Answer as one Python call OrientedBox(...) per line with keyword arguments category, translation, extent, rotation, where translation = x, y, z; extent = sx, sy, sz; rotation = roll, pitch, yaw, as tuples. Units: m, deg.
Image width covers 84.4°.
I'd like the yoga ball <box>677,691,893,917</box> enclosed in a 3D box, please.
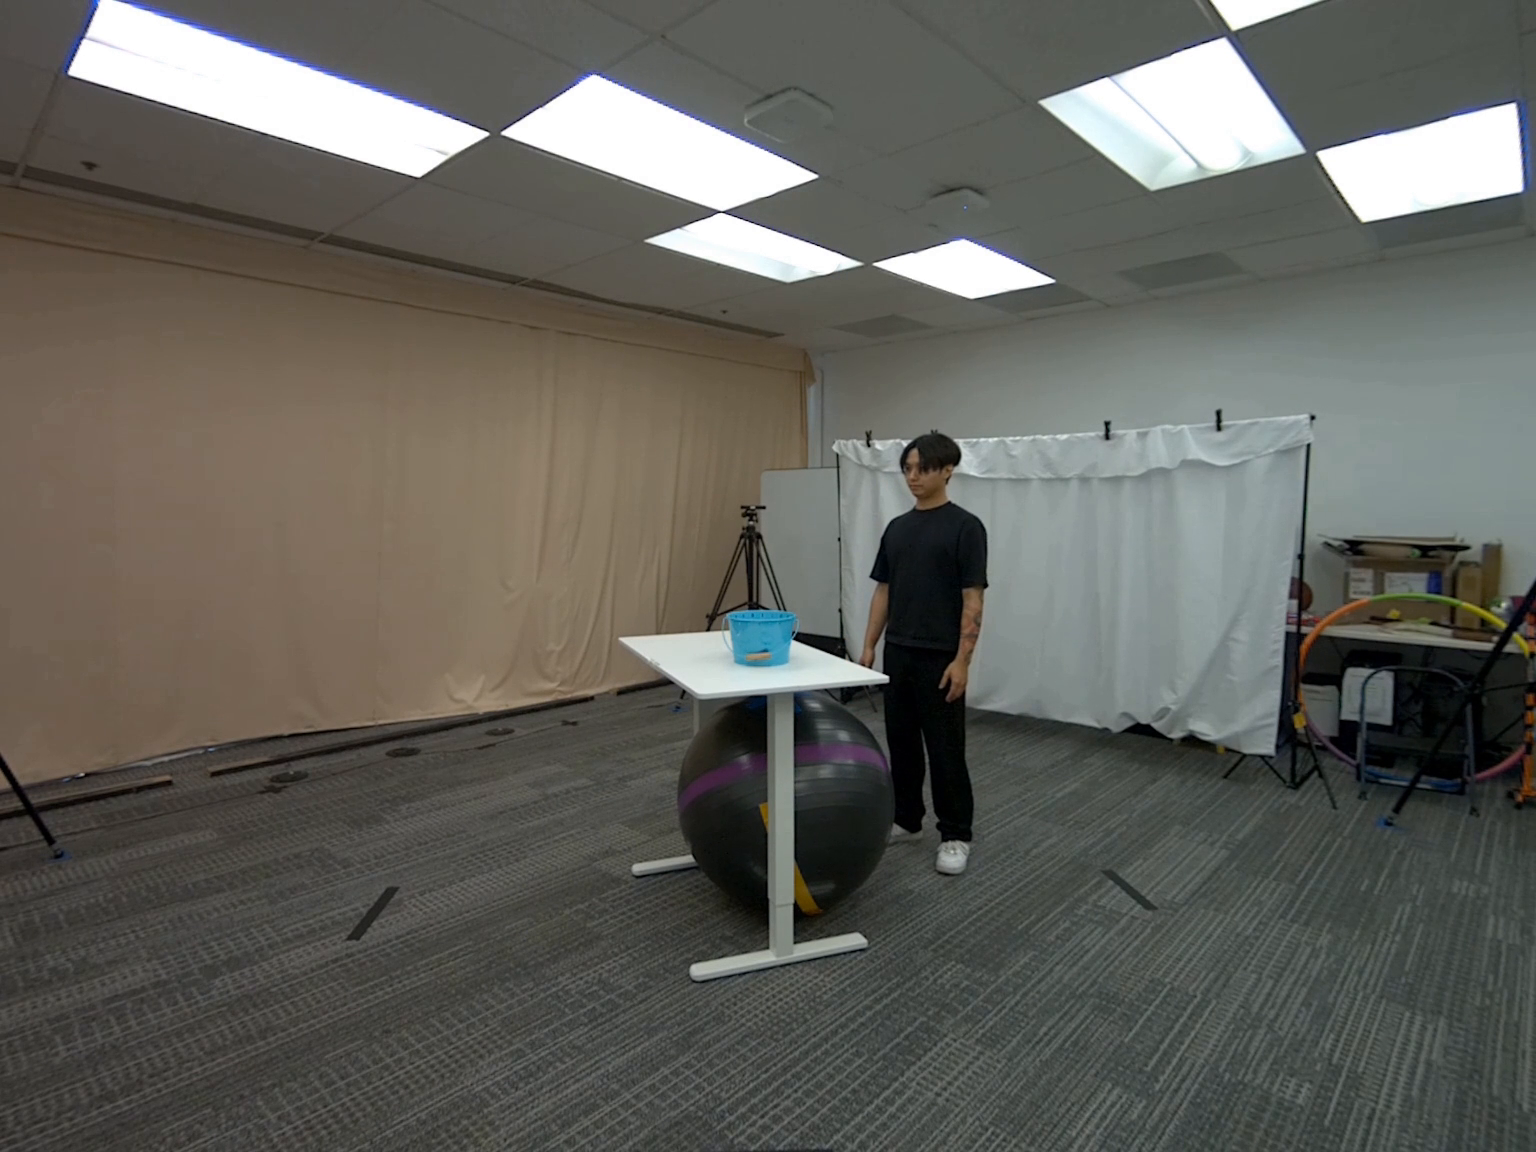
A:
OrientedBox(category="yoga ball", translation=(0.060, 0.785, 2.958), extent=(0.757, 0.756, 0.760), rotation=(0, 4, -2))
